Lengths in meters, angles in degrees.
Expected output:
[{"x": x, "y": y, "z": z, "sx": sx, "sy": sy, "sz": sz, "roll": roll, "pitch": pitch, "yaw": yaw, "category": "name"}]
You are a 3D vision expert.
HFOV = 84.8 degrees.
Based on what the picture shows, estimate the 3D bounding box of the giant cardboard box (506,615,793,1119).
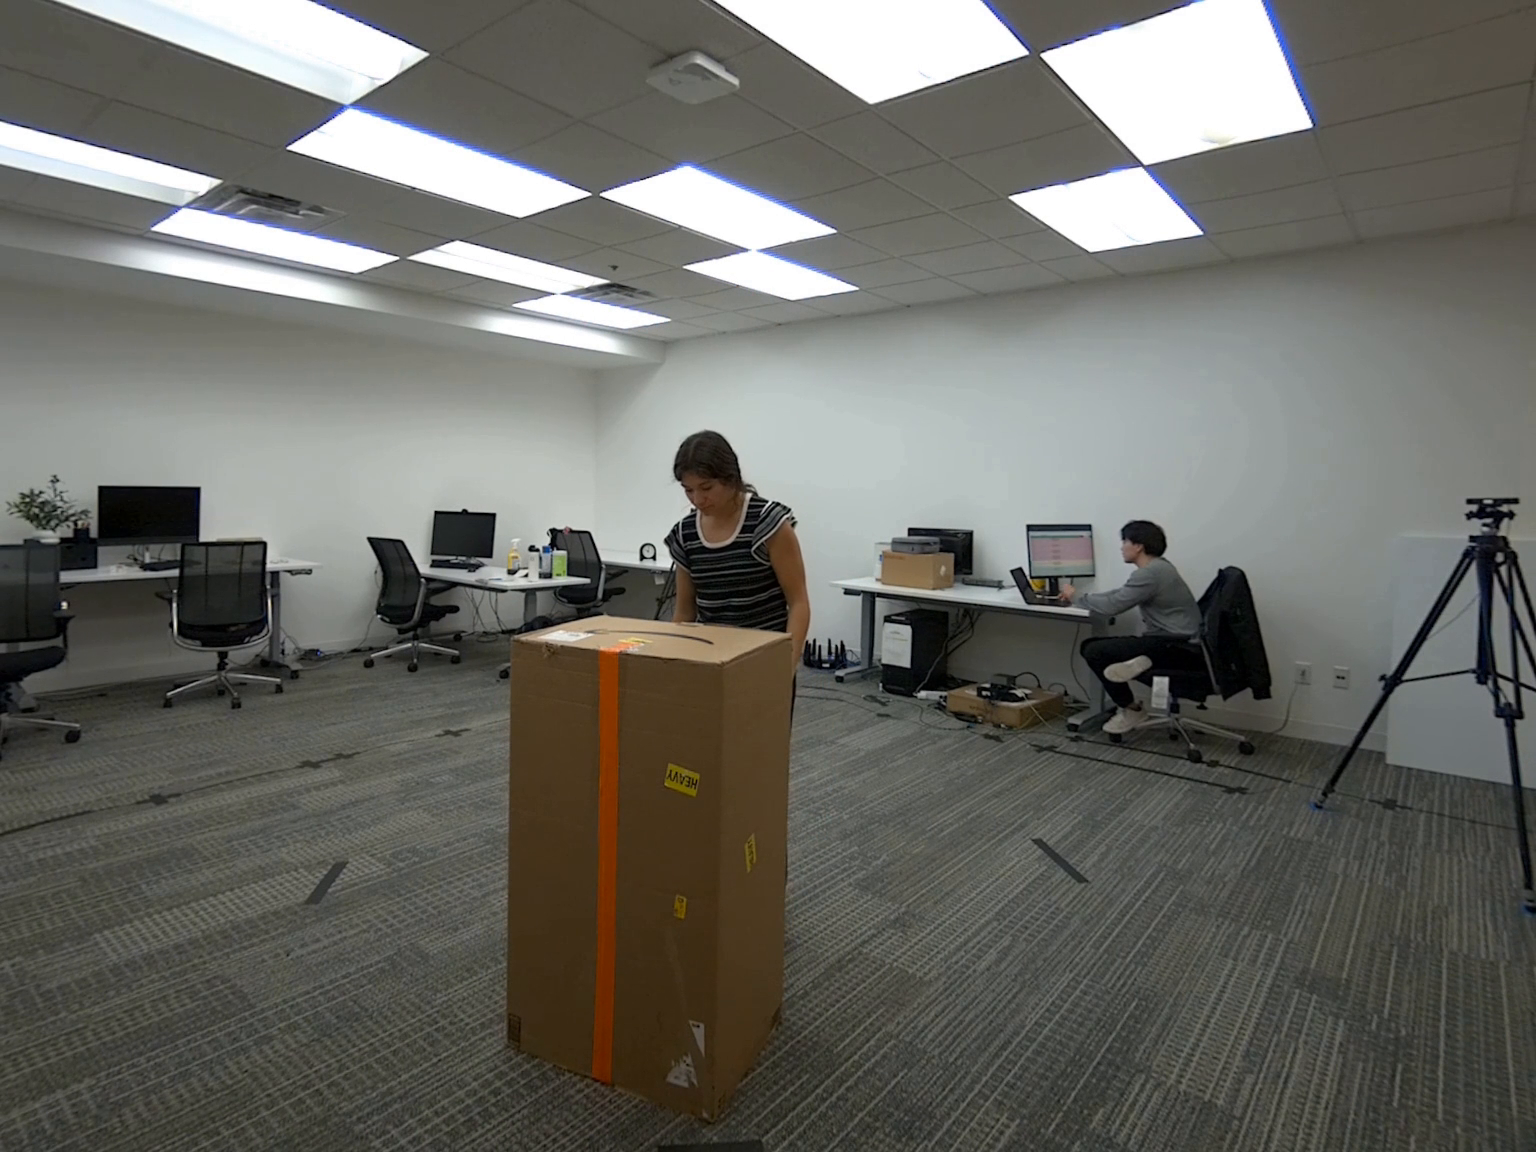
[{"x": -0.302, "y": 0.653, "z": 2.138, "sx": 0.592, "sy": 1.023, "sz": 0.417, "roll": 3, "pitch": 4, "yaw": 24, "category": "giant cardboard box"}]
